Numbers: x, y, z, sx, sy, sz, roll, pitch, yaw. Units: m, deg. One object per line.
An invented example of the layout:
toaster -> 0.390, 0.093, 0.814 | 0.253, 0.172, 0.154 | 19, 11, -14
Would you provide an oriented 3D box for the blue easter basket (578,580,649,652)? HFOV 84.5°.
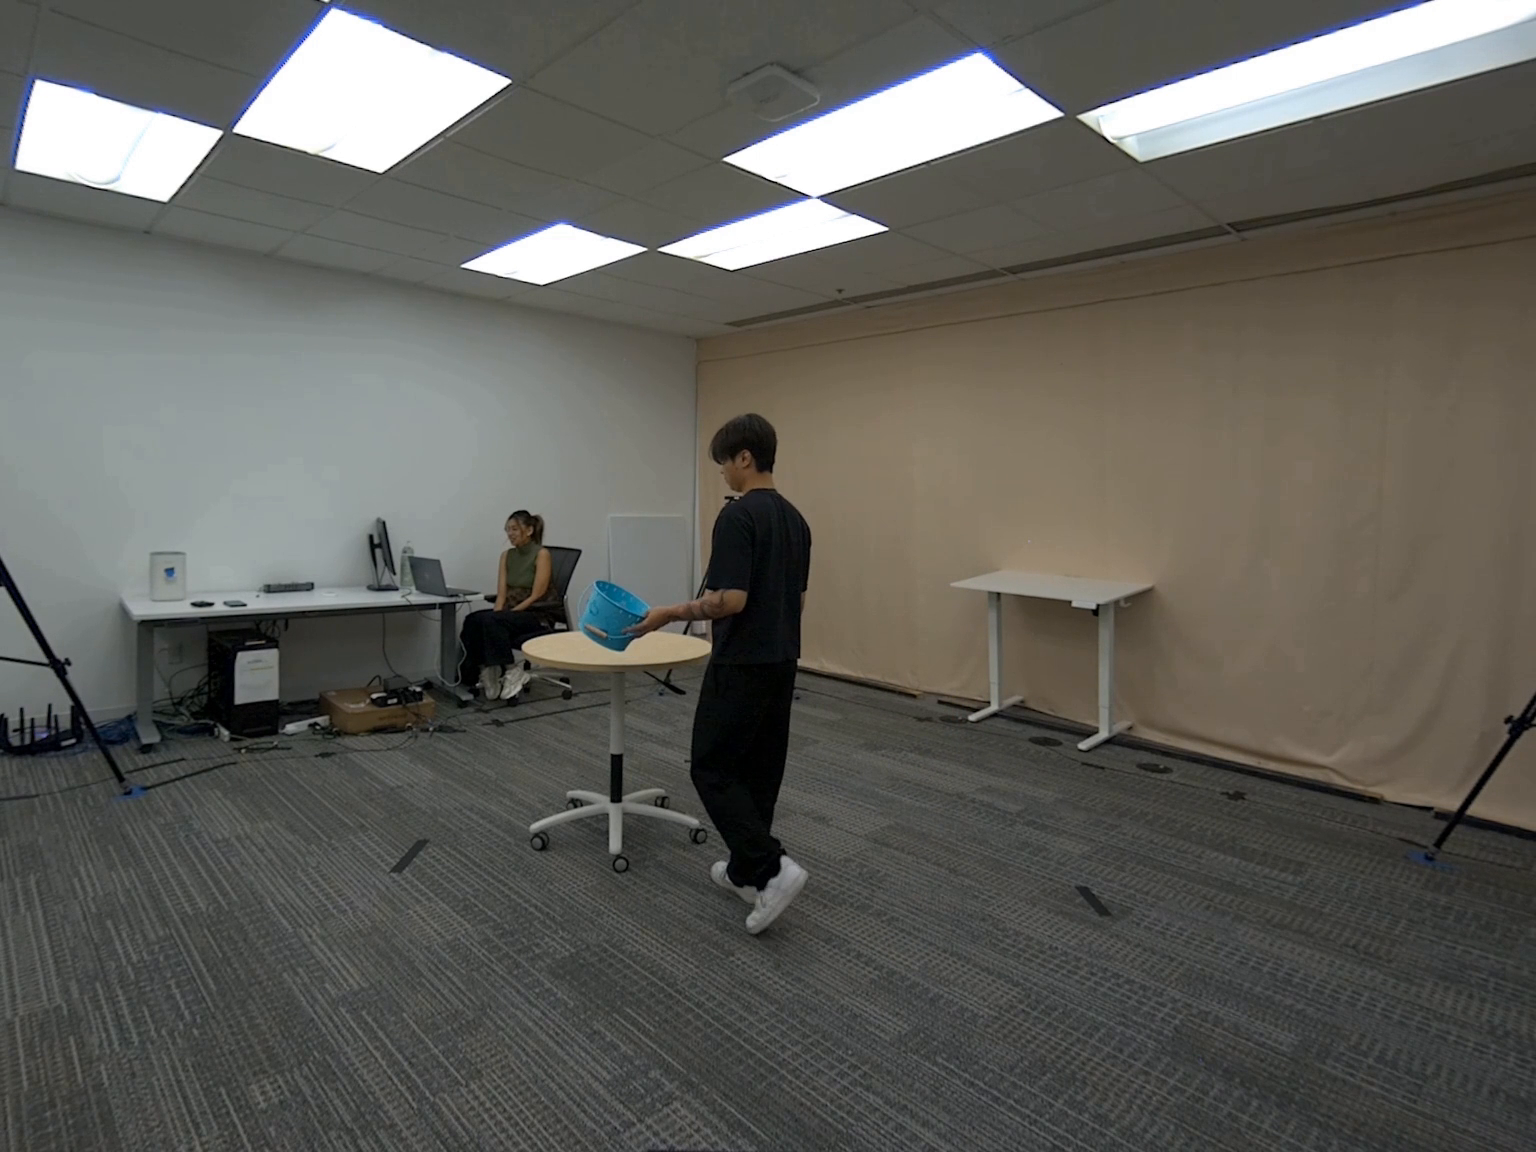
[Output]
blue easter basket -> -0.524, 0.145, 2.811 | 0.242, 0.155, 0.246 | 30, 9, -7
